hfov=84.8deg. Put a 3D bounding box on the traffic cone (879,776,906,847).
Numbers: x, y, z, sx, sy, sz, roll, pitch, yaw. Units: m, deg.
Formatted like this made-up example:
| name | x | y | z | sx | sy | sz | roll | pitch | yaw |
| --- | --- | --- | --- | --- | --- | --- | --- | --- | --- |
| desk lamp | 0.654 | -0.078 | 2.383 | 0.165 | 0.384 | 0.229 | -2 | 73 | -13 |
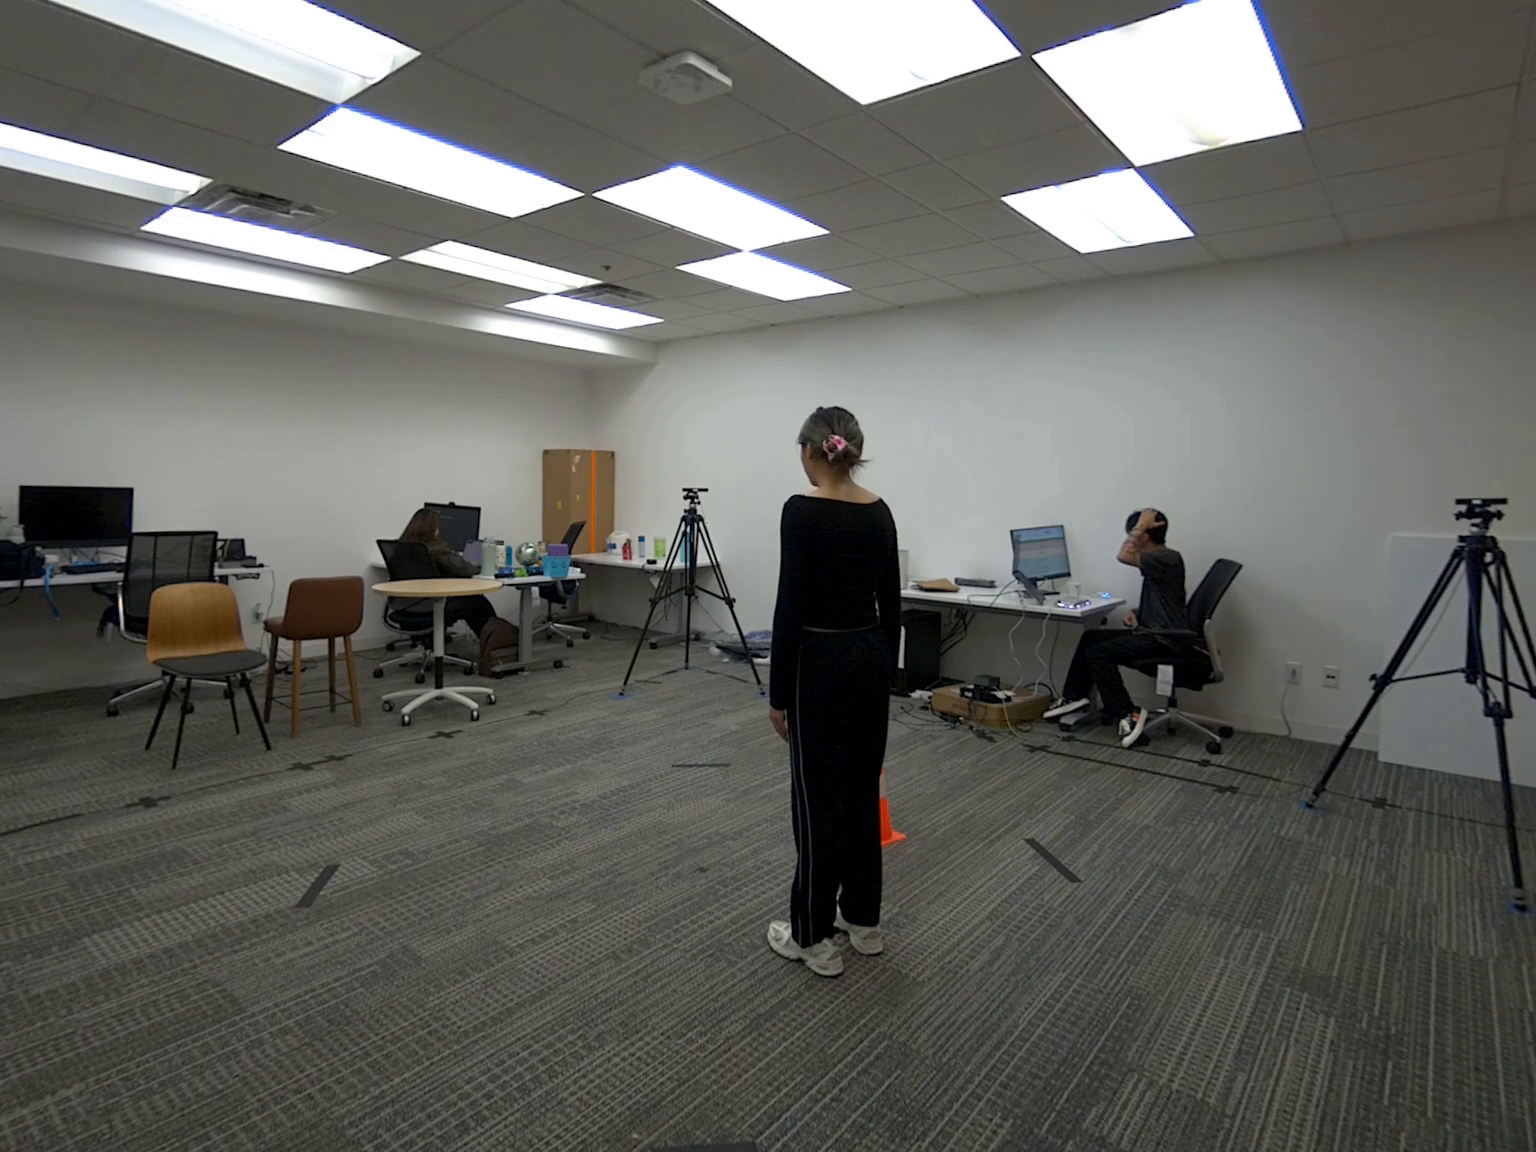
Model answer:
| name | x | y | z | sx | sy | sz | roll | pitch | yaw |
| --- | --- | --- | --- | --- | --- | --- | --- | --- | --- |
| traffic cone | 0.428 | 0.863 | 3.457 | 0.199 | 0.383 | 0.210 | 0 | 3 | -36 |
